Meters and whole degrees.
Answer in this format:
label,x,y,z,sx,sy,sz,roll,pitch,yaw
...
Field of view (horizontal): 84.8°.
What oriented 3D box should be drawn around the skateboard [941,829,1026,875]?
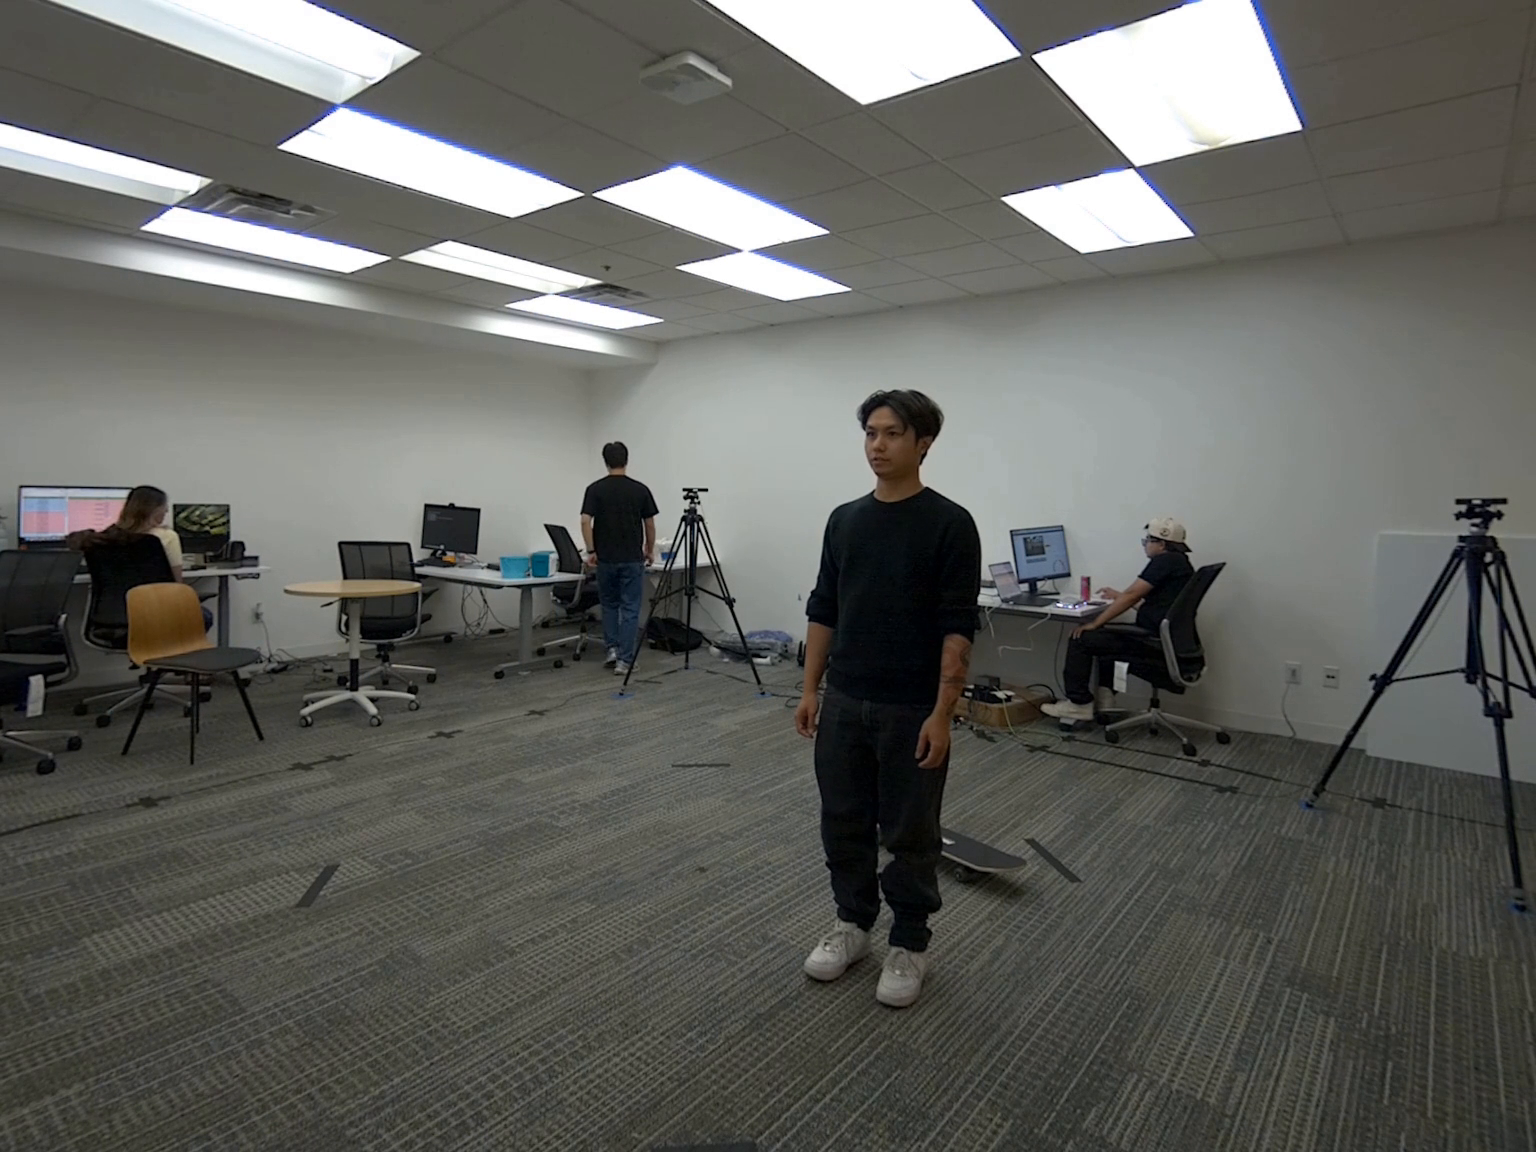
label,x,y,z,sx,sy,sz,roll,pitch,yaw
skateboard,0.609,1.011,3.258,0.188,0.110,0.813,-3,7,-41
